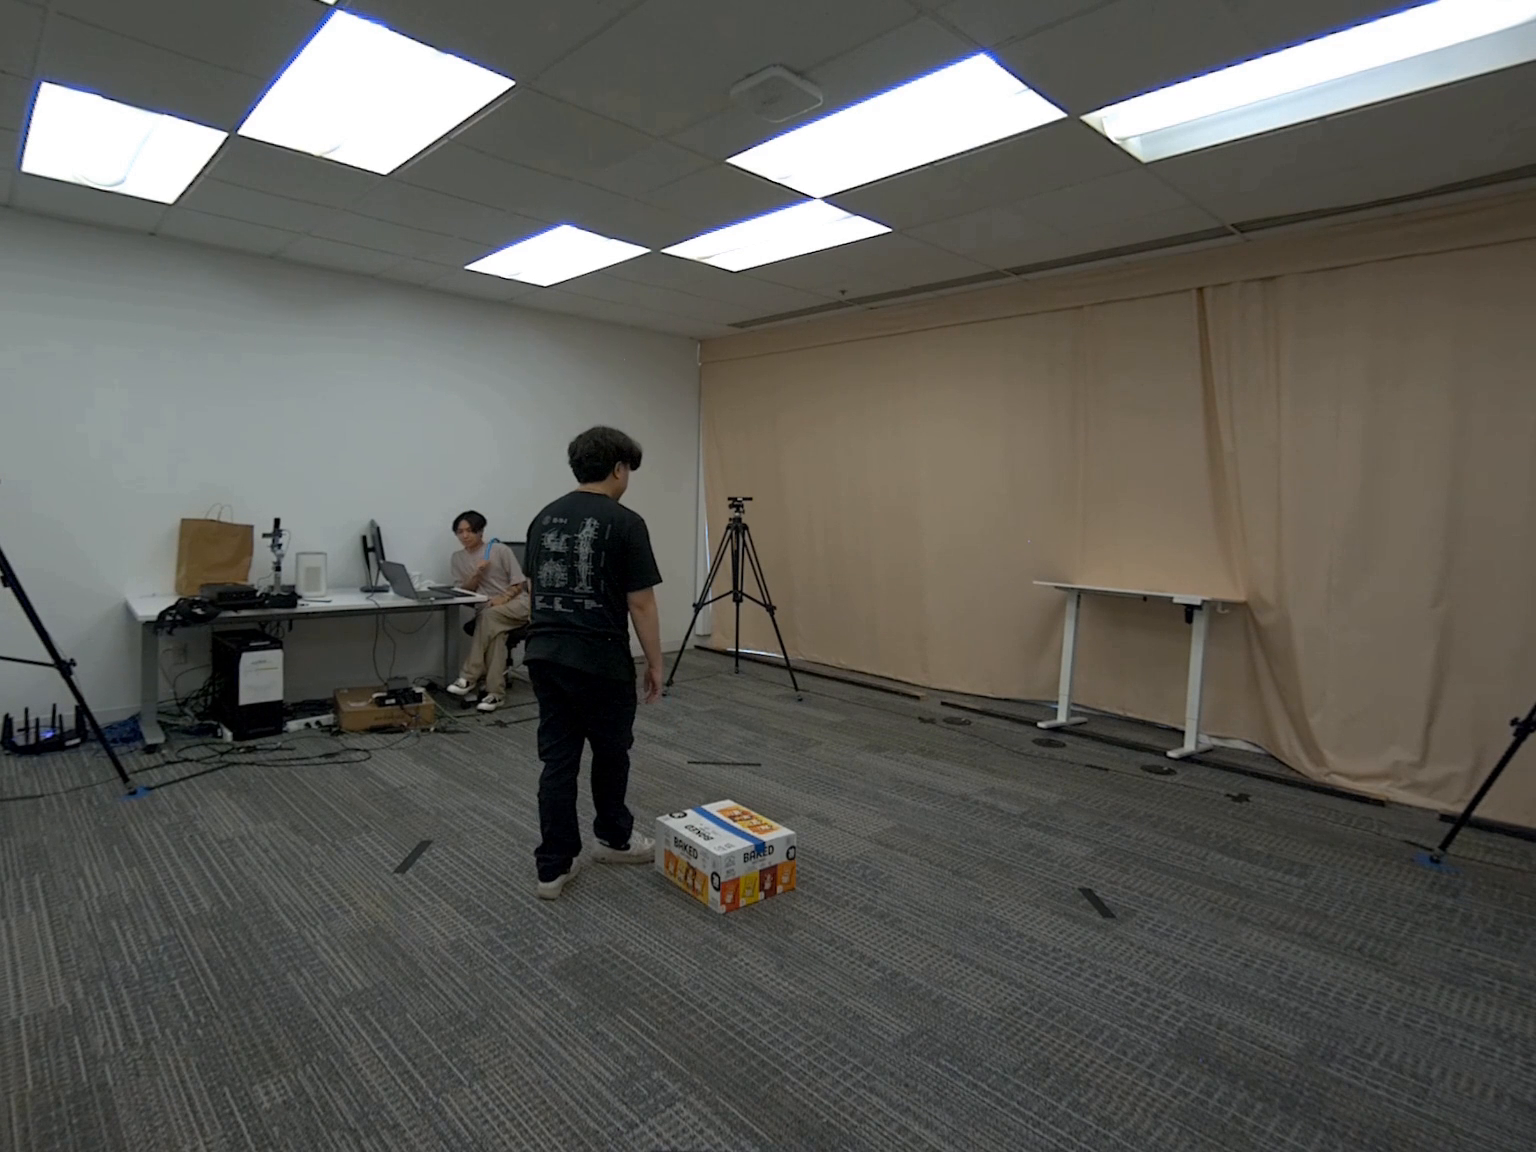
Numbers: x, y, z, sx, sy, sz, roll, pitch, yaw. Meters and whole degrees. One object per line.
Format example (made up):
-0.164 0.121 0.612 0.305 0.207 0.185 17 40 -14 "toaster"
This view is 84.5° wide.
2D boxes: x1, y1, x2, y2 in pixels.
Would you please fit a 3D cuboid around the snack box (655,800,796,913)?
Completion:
-0.167 1.010 3.065 0.333 0.205 0.415 -2 6 -39 "snack box"
